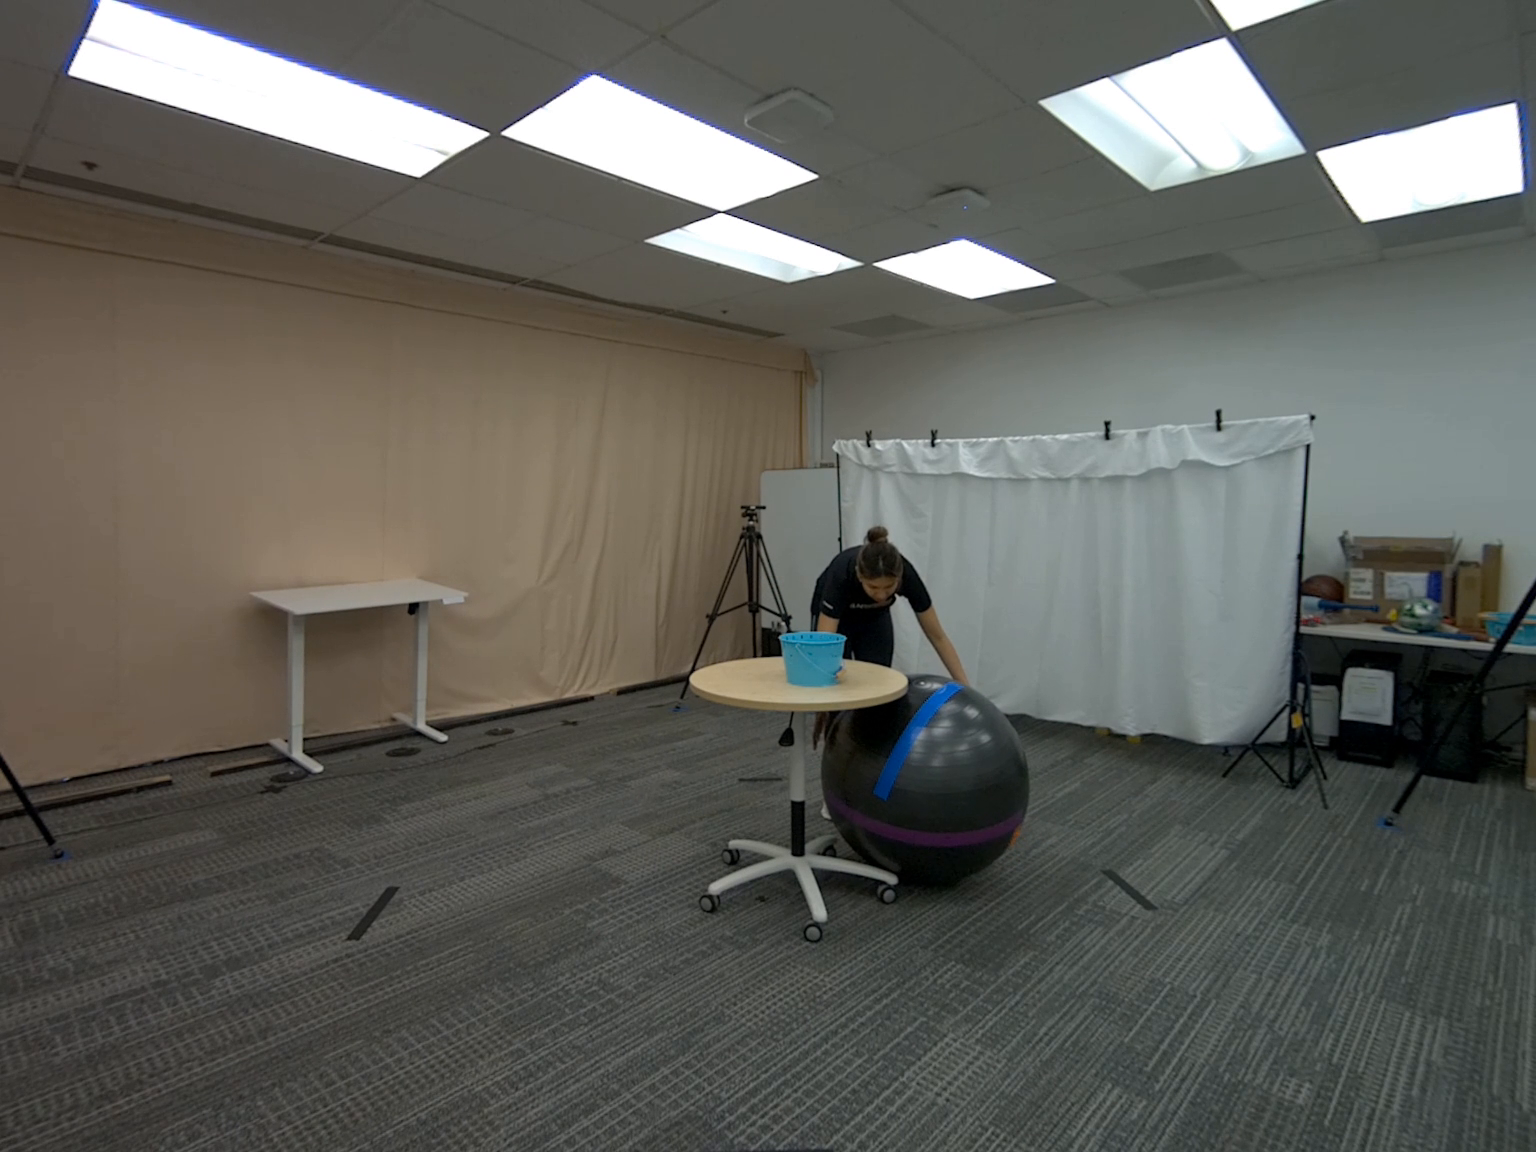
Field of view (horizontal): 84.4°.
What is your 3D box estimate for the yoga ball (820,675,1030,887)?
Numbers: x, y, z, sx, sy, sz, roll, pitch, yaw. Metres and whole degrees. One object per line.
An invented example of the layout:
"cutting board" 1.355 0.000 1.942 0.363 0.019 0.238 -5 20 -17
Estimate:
"yoga ball" 0.601 0.764 3.165 0.757 0.756 0.761 0 4 -2
